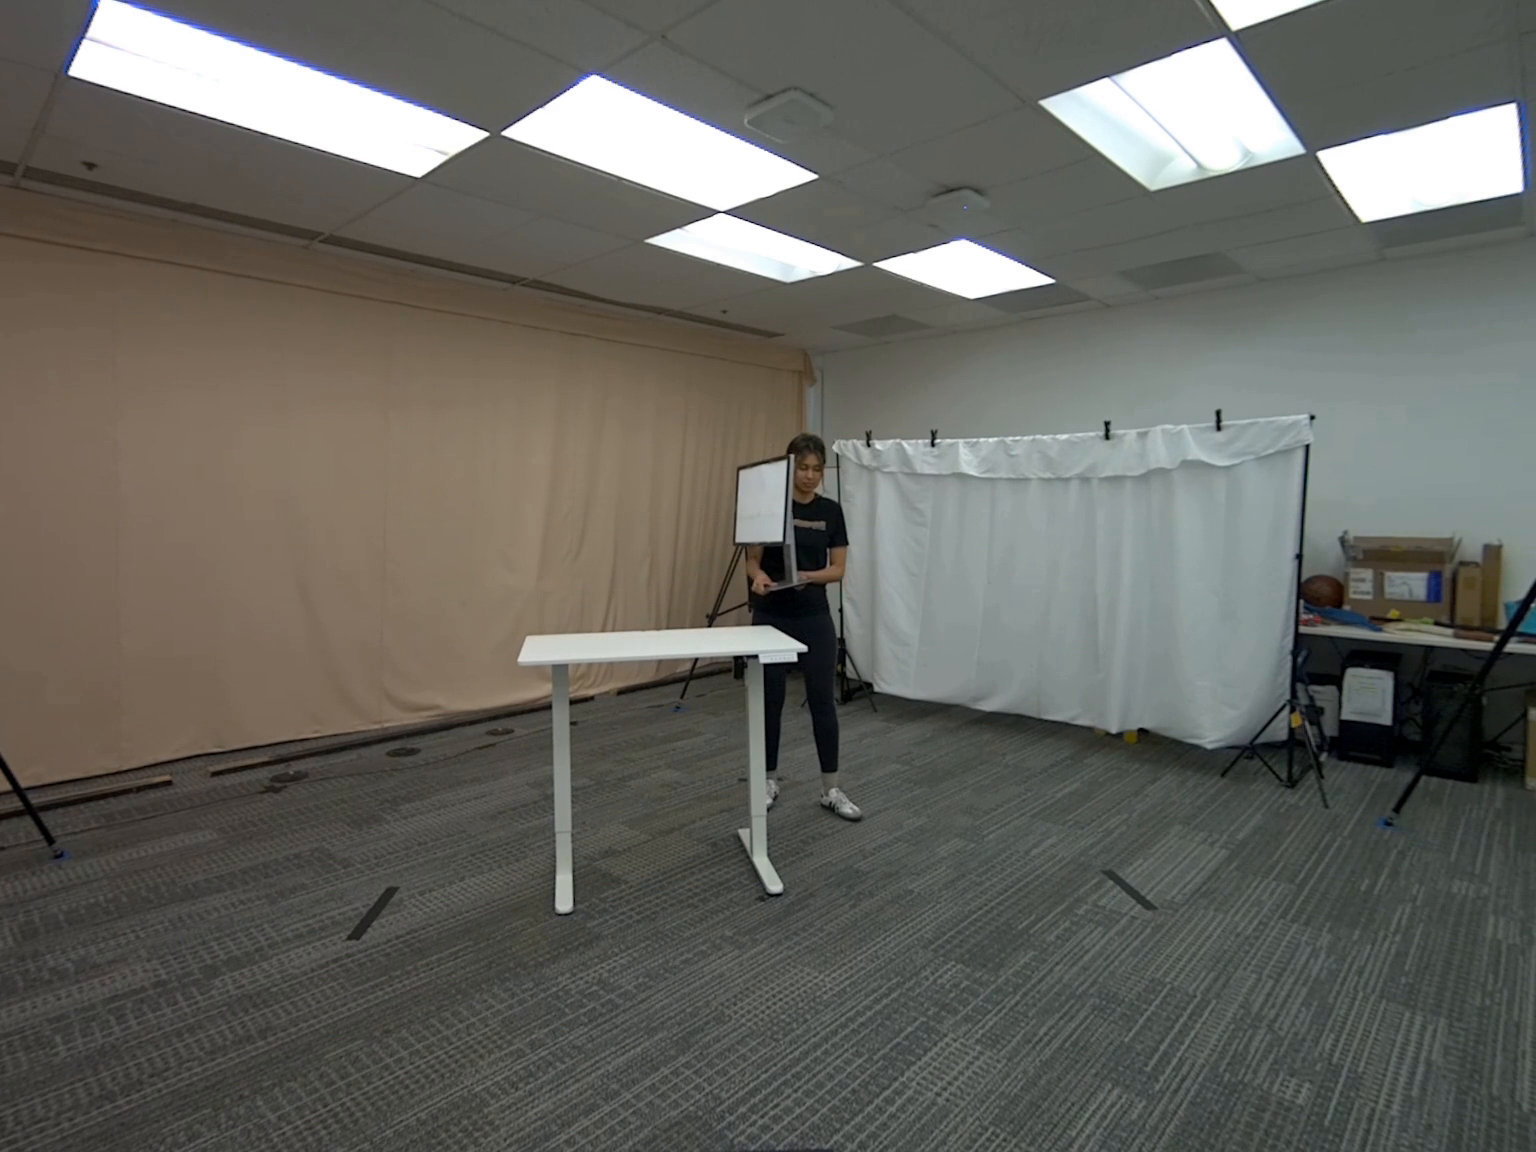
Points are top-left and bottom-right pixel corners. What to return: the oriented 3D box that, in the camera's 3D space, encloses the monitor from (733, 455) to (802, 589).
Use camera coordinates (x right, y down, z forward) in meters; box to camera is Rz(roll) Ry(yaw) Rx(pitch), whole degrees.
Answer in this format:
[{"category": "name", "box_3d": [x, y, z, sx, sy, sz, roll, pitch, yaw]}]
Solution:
[{"category": "monitor", "box_3d": [0.021, -0.223, 3.595, 0.183, 0.521, 0.552, -9, 4, -24]}]
